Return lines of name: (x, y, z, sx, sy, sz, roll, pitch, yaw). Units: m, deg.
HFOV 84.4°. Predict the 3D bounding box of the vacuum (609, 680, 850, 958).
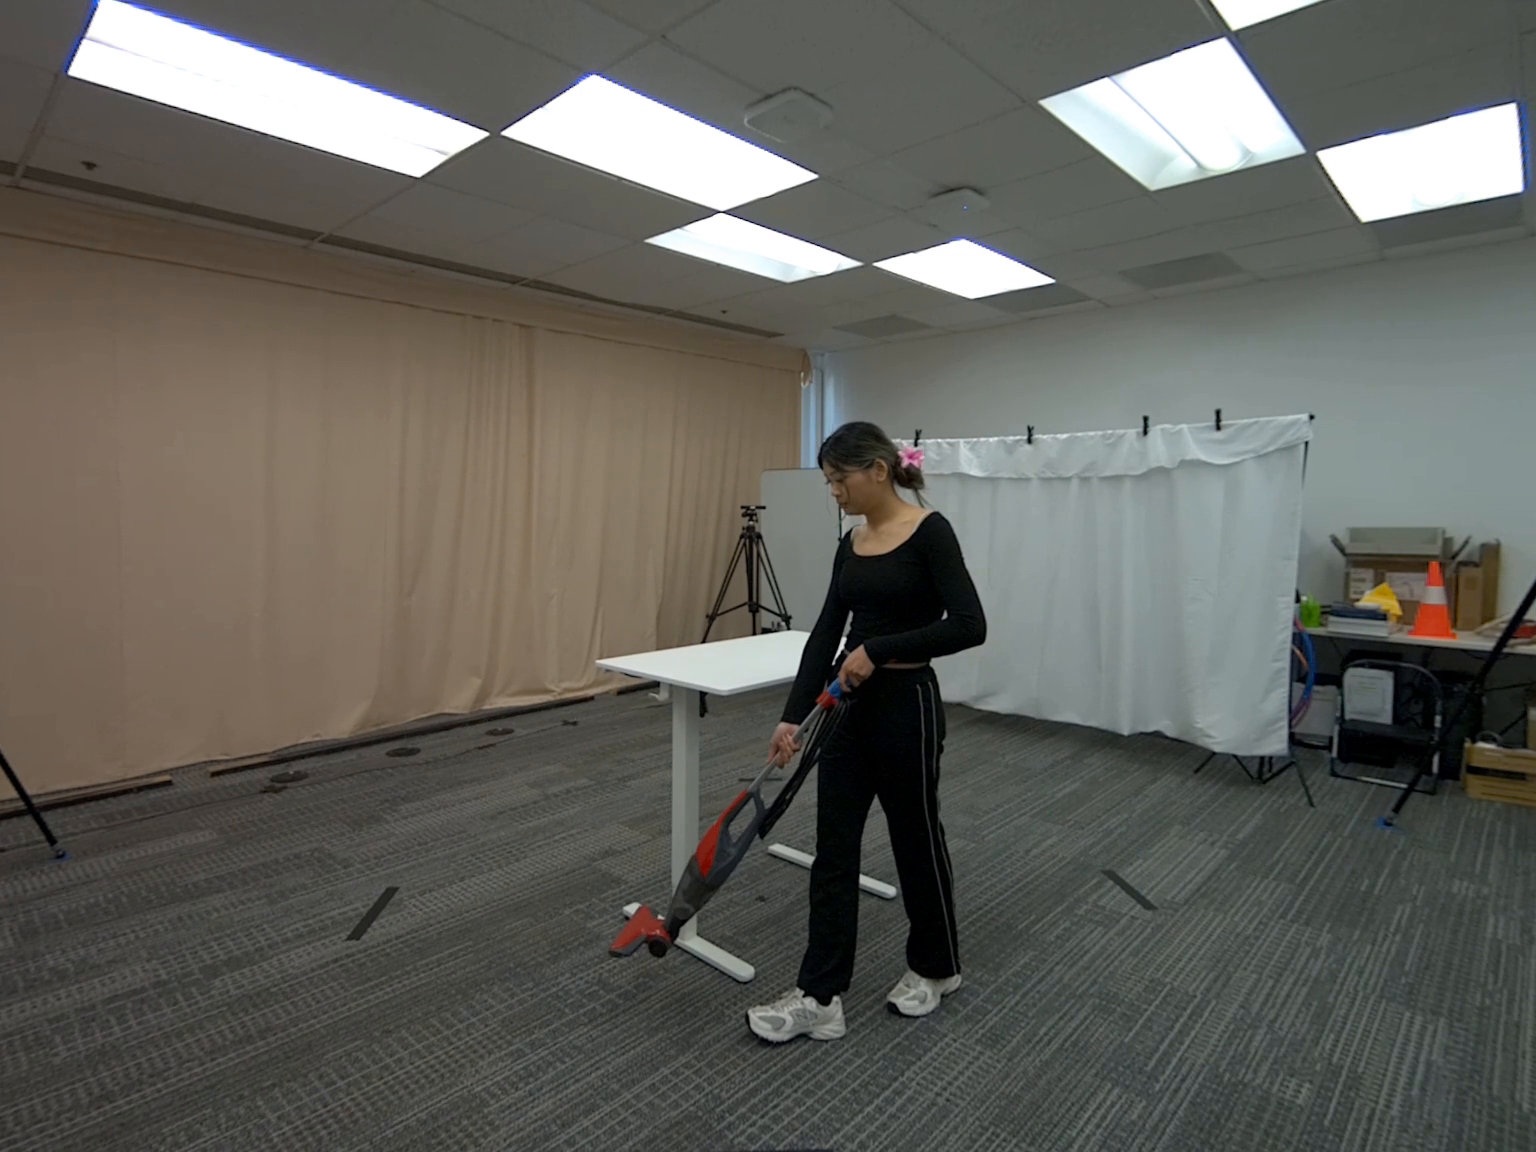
vacuum: (-0.025, 0.596, 2.208, 0.145, 1.051, 0.250, 38, 10, 6)
